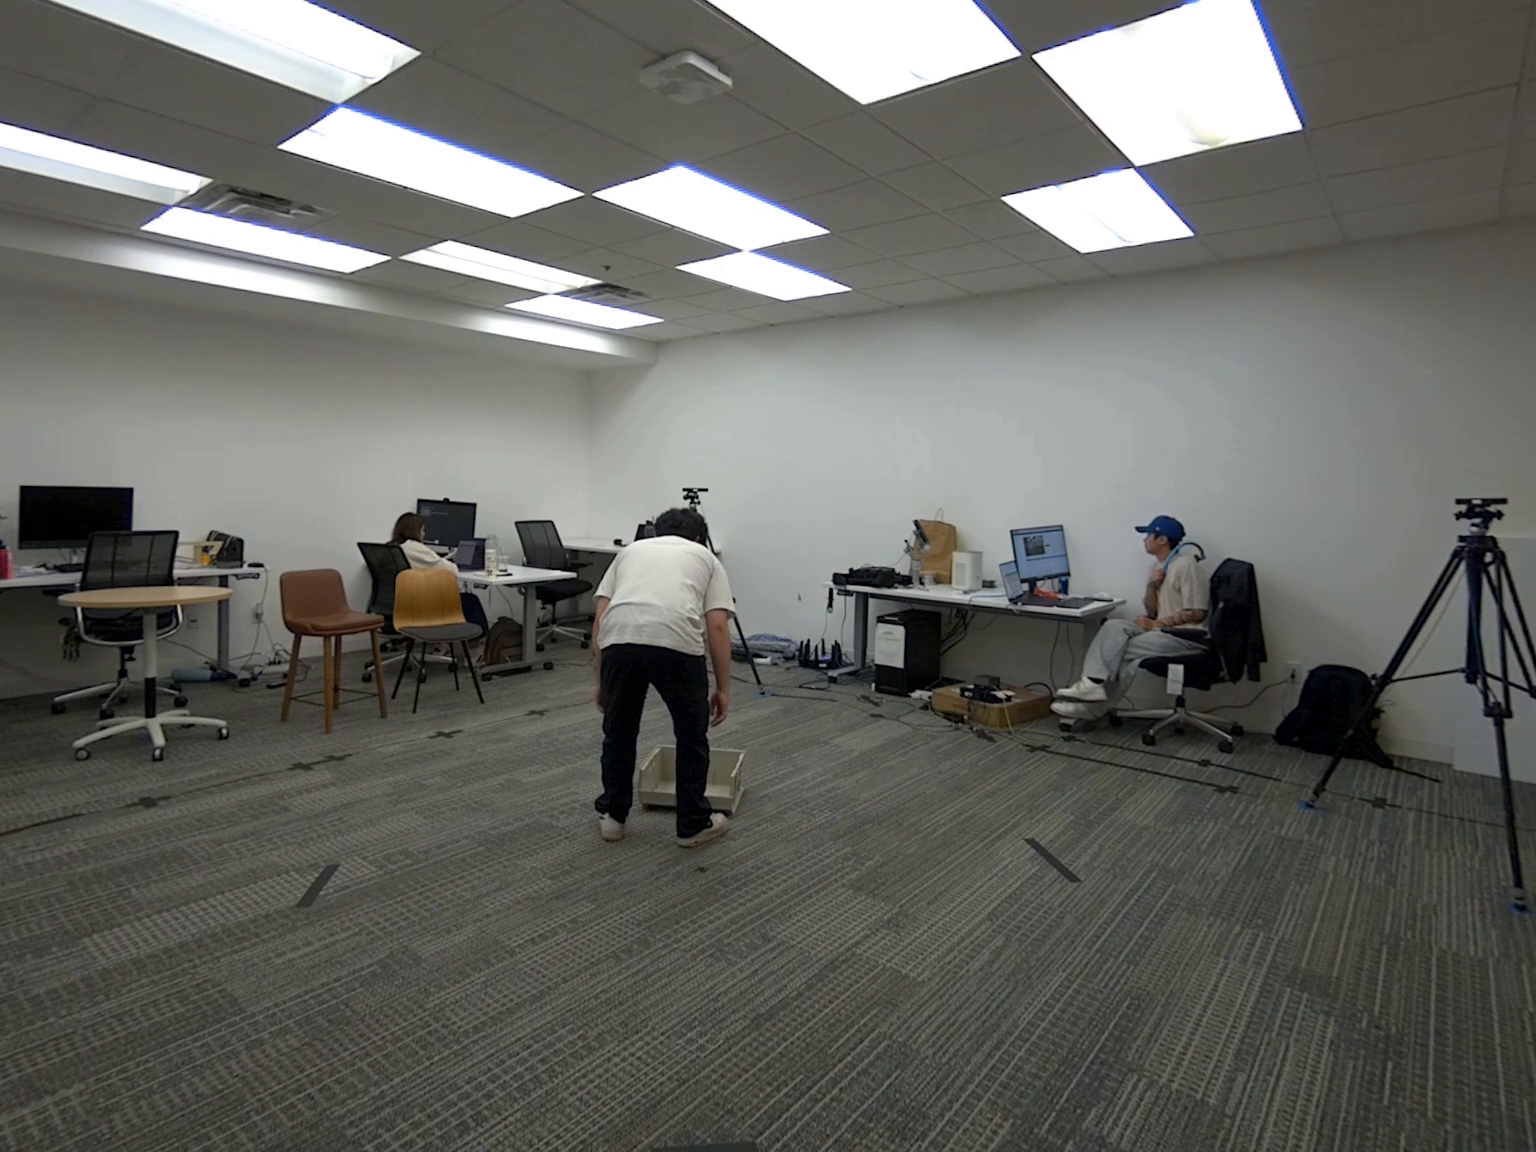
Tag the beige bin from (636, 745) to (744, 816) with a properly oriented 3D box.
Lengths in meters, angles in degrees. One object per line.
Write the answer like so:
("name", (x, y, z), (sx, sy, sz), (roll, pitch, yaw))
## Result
("beige bin", (-0.345, 0.908, 3.806), (0.426, 0.188, 0.375), (1, 4, 7))
